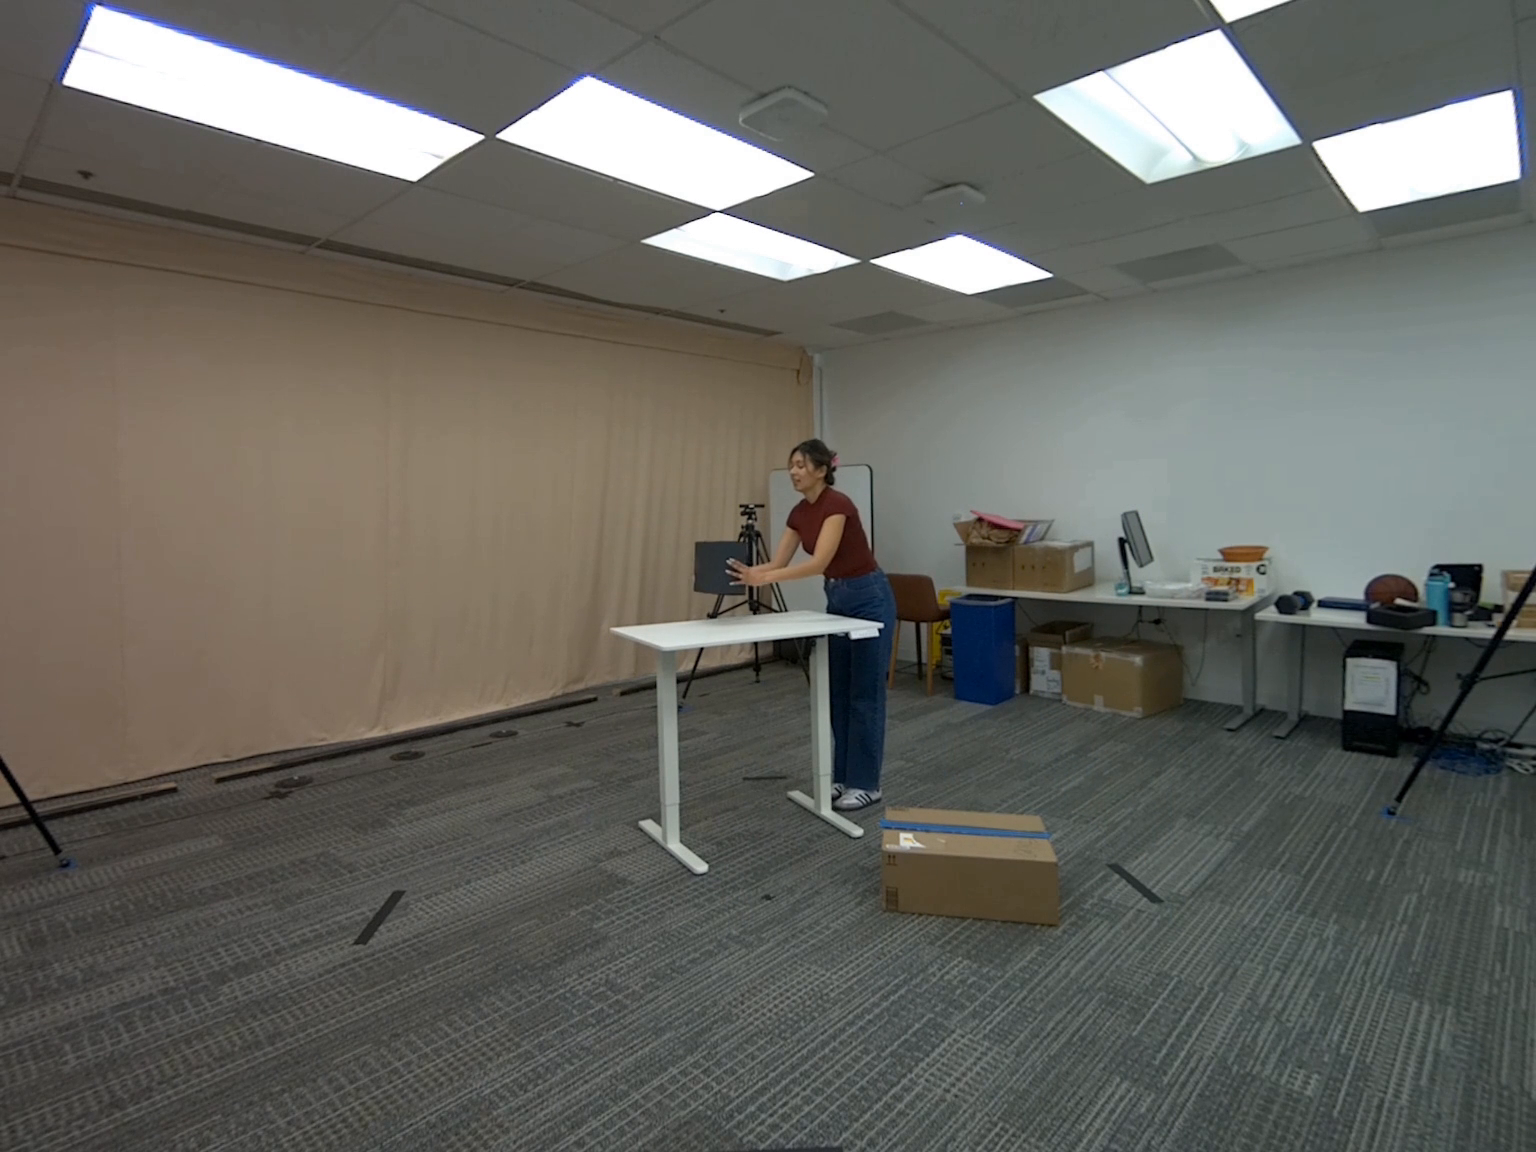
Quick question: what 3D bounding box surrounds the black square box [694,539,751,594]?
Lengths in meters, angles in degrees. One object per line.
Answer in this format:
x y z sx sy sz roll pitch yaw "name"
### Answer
-0.202 -0.042 3.697 0.152 0.228 0.223 2 -1 -29 "black square box"
